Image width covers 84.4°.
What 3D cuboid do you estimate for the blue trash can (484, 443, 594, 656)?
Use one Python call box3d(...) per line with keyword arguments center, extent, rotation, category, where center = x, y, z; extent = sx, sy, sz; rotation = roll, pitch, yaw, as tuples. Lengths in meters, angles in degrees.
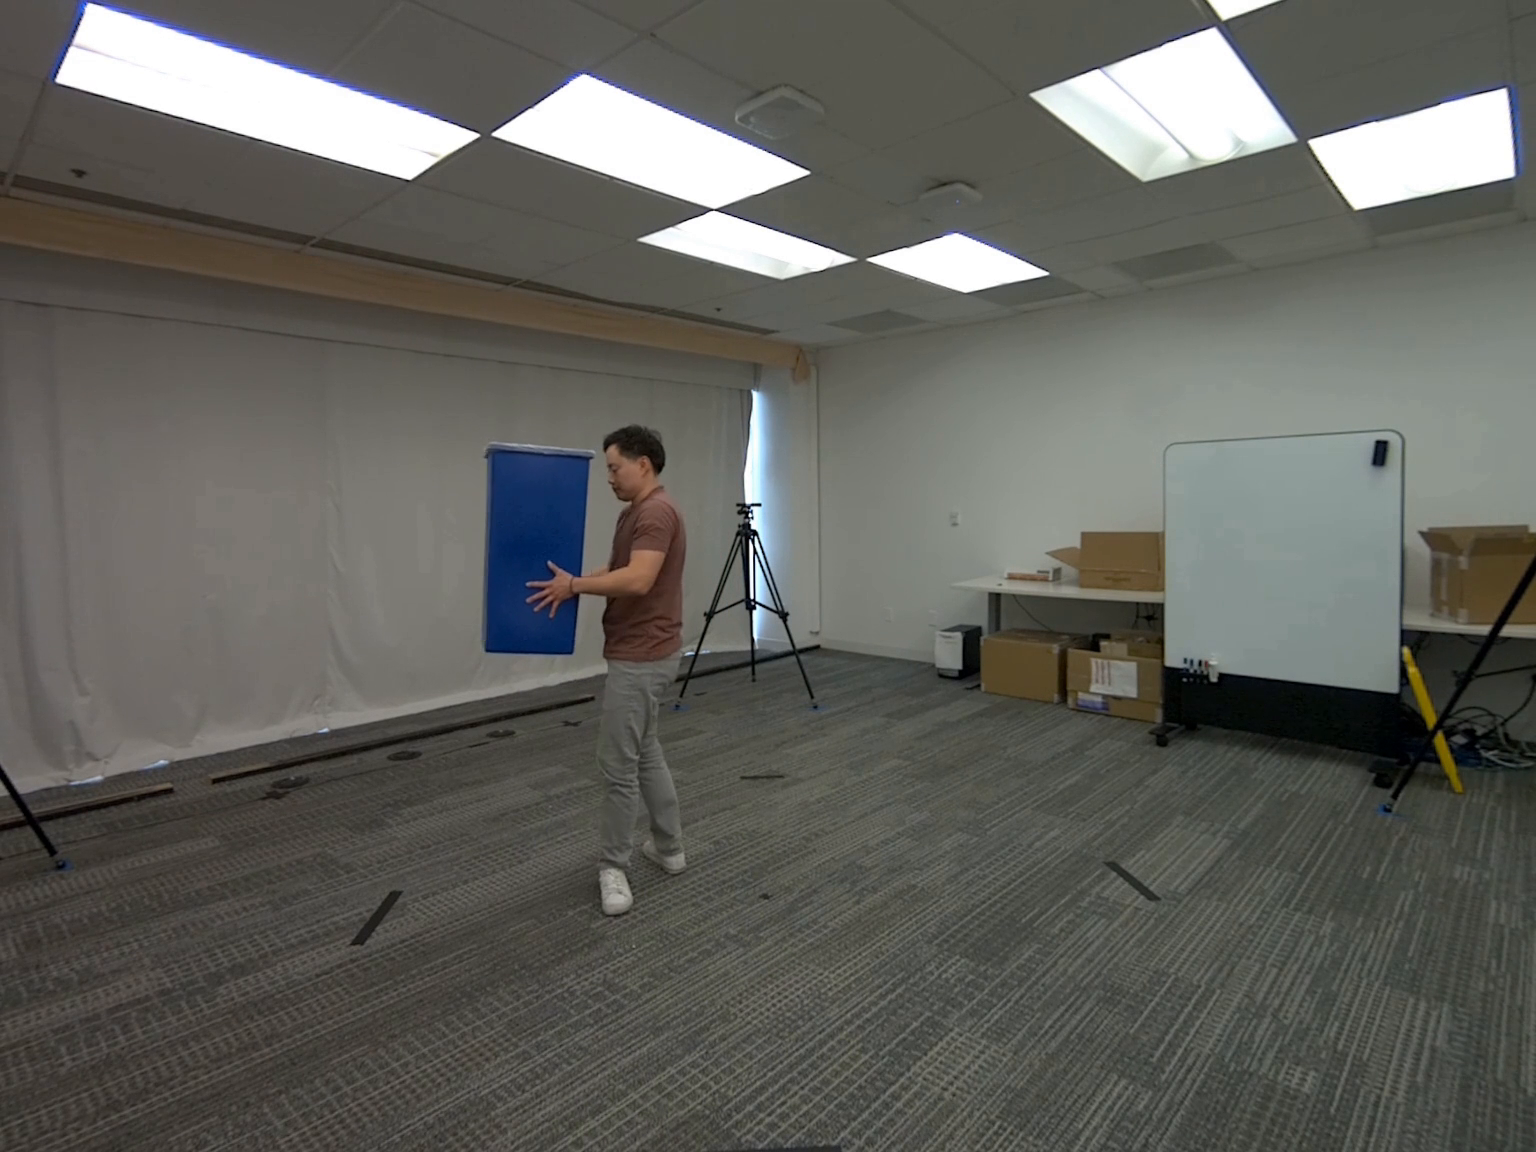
box3d(center=(-0.851, -0.098, 3.034), extent=(0.366, 0.714, 0.386), rotation=(4, -1, -20), category="blue trash can")
